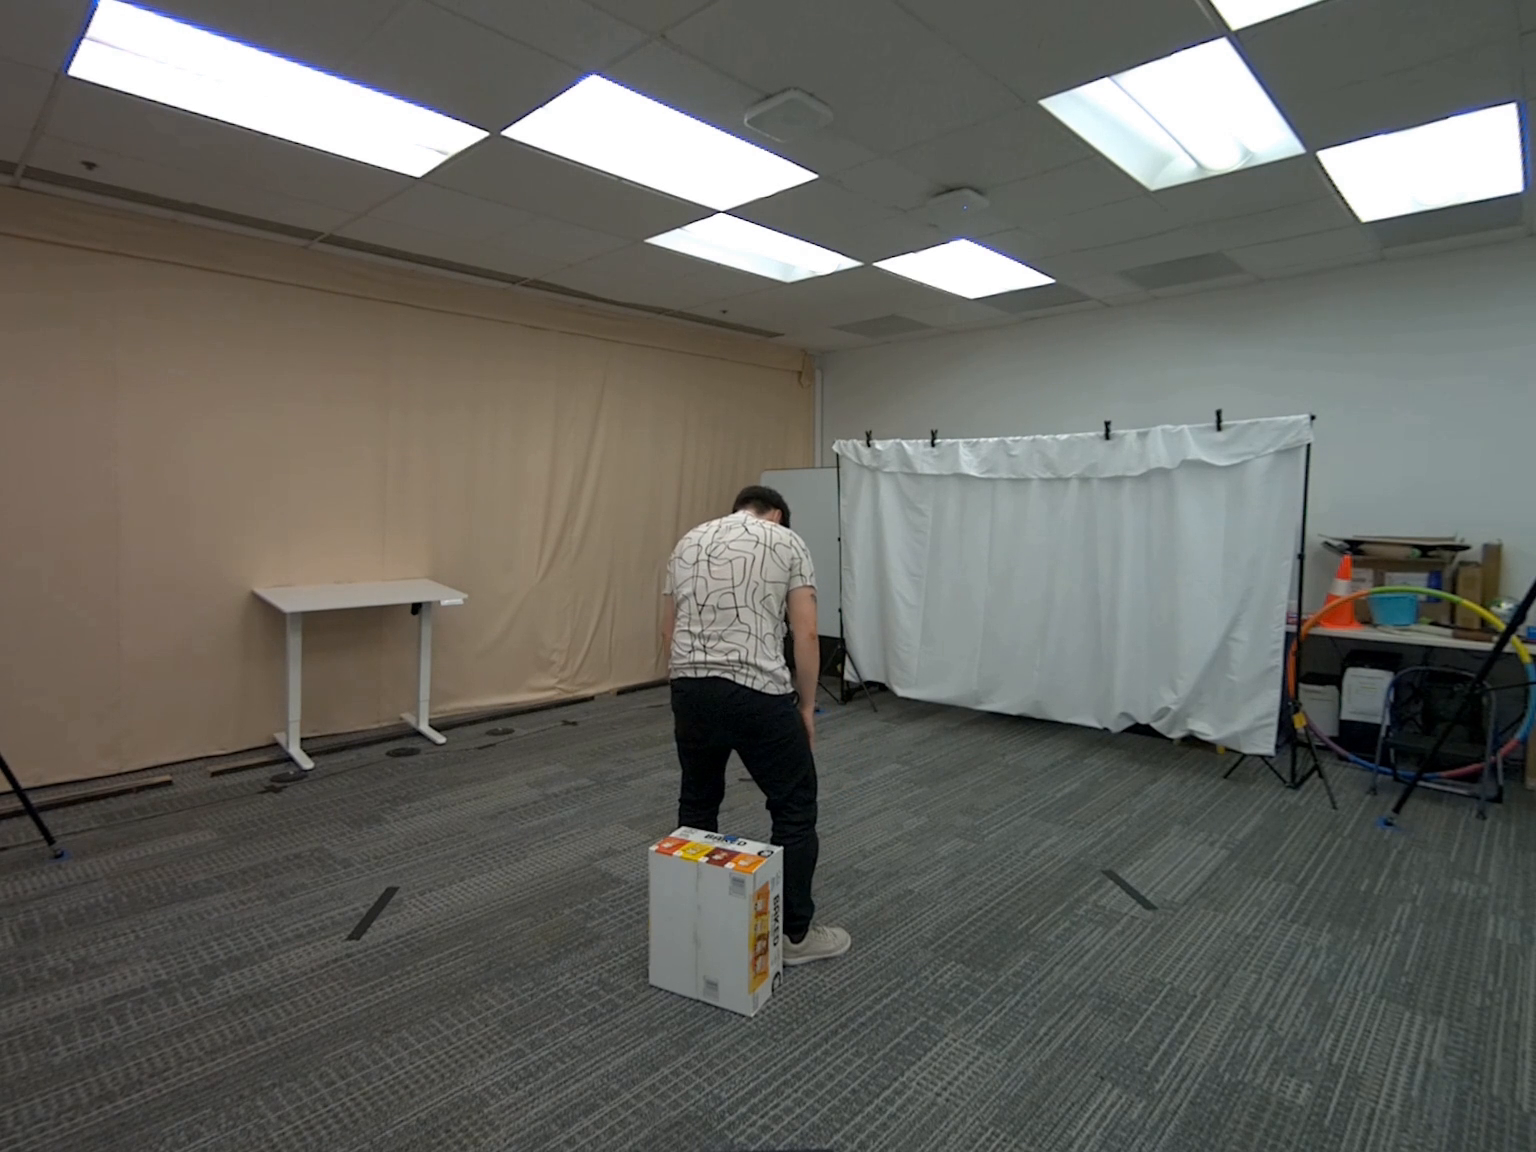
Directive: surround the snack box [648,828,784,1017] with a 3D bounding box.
[{"bbox_3d":[-0.148,0.985,2.439,0.349,0.404,0.200,2,3,27],"label":"snack box"}]
